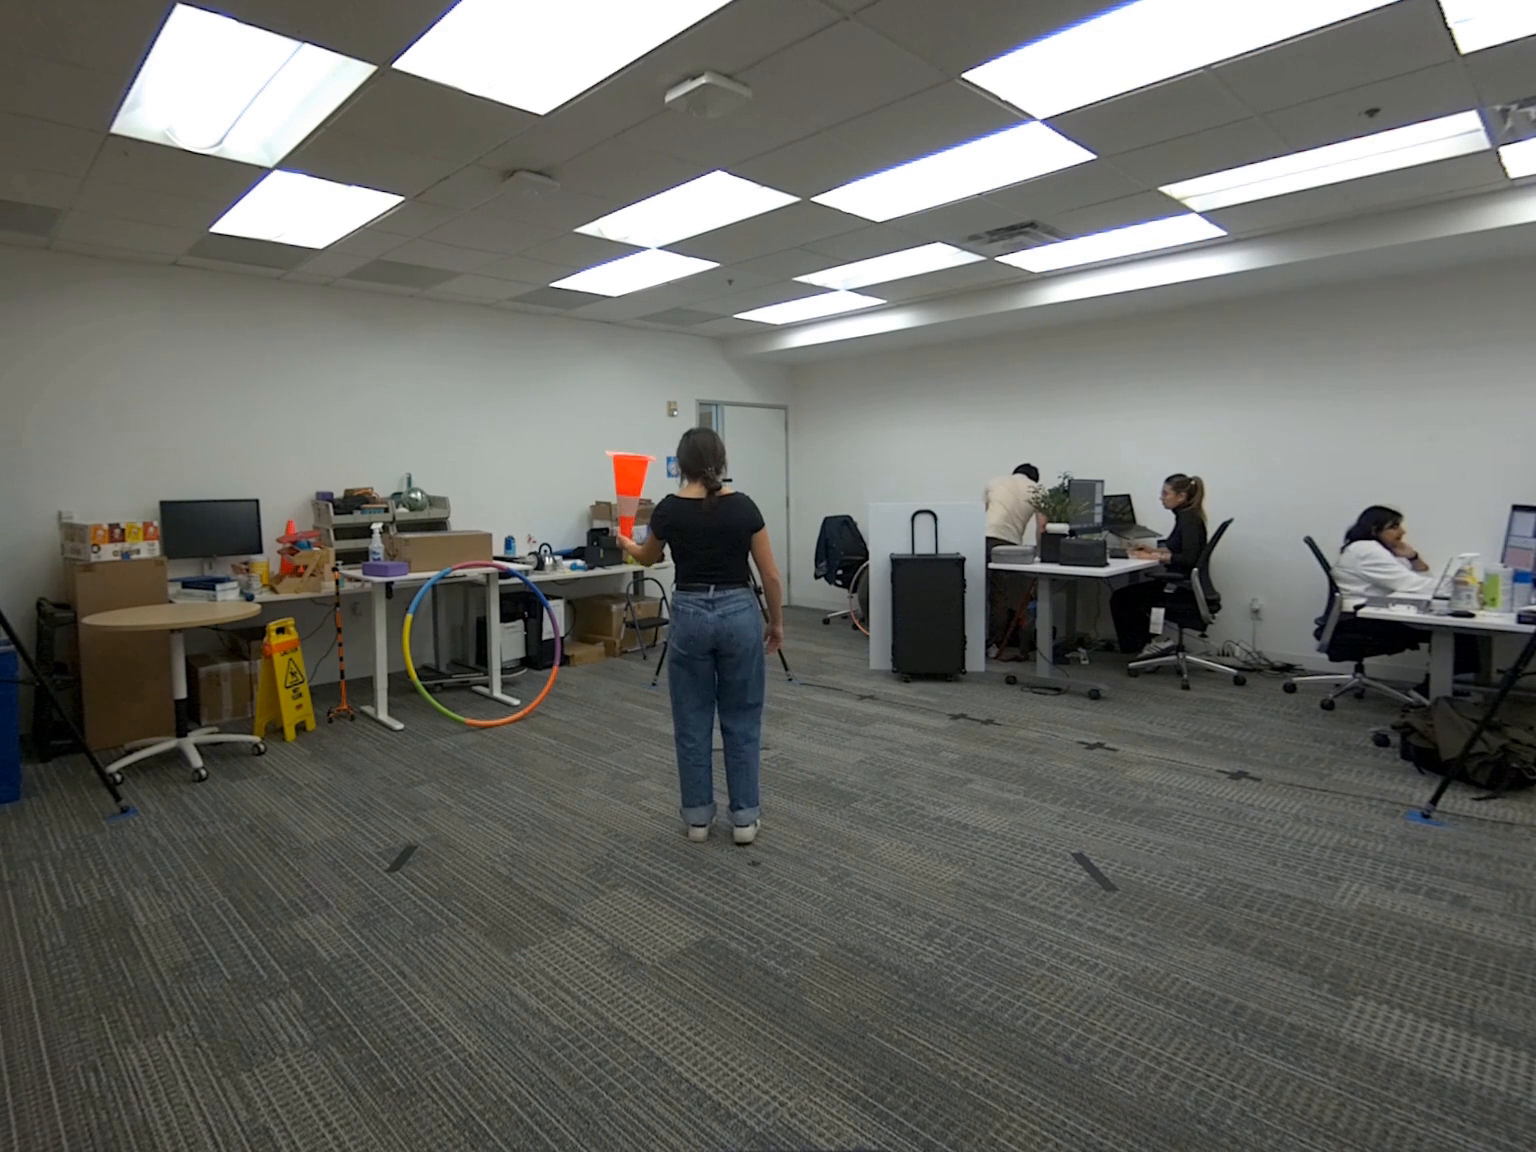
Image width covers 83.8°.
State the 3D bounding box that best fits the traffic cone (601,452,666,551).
[{"bbox_3d":[-0.586,-0.323,3.688,0.199,0.380,0.211,3,13,-20],"label":"traffic cone"}]
